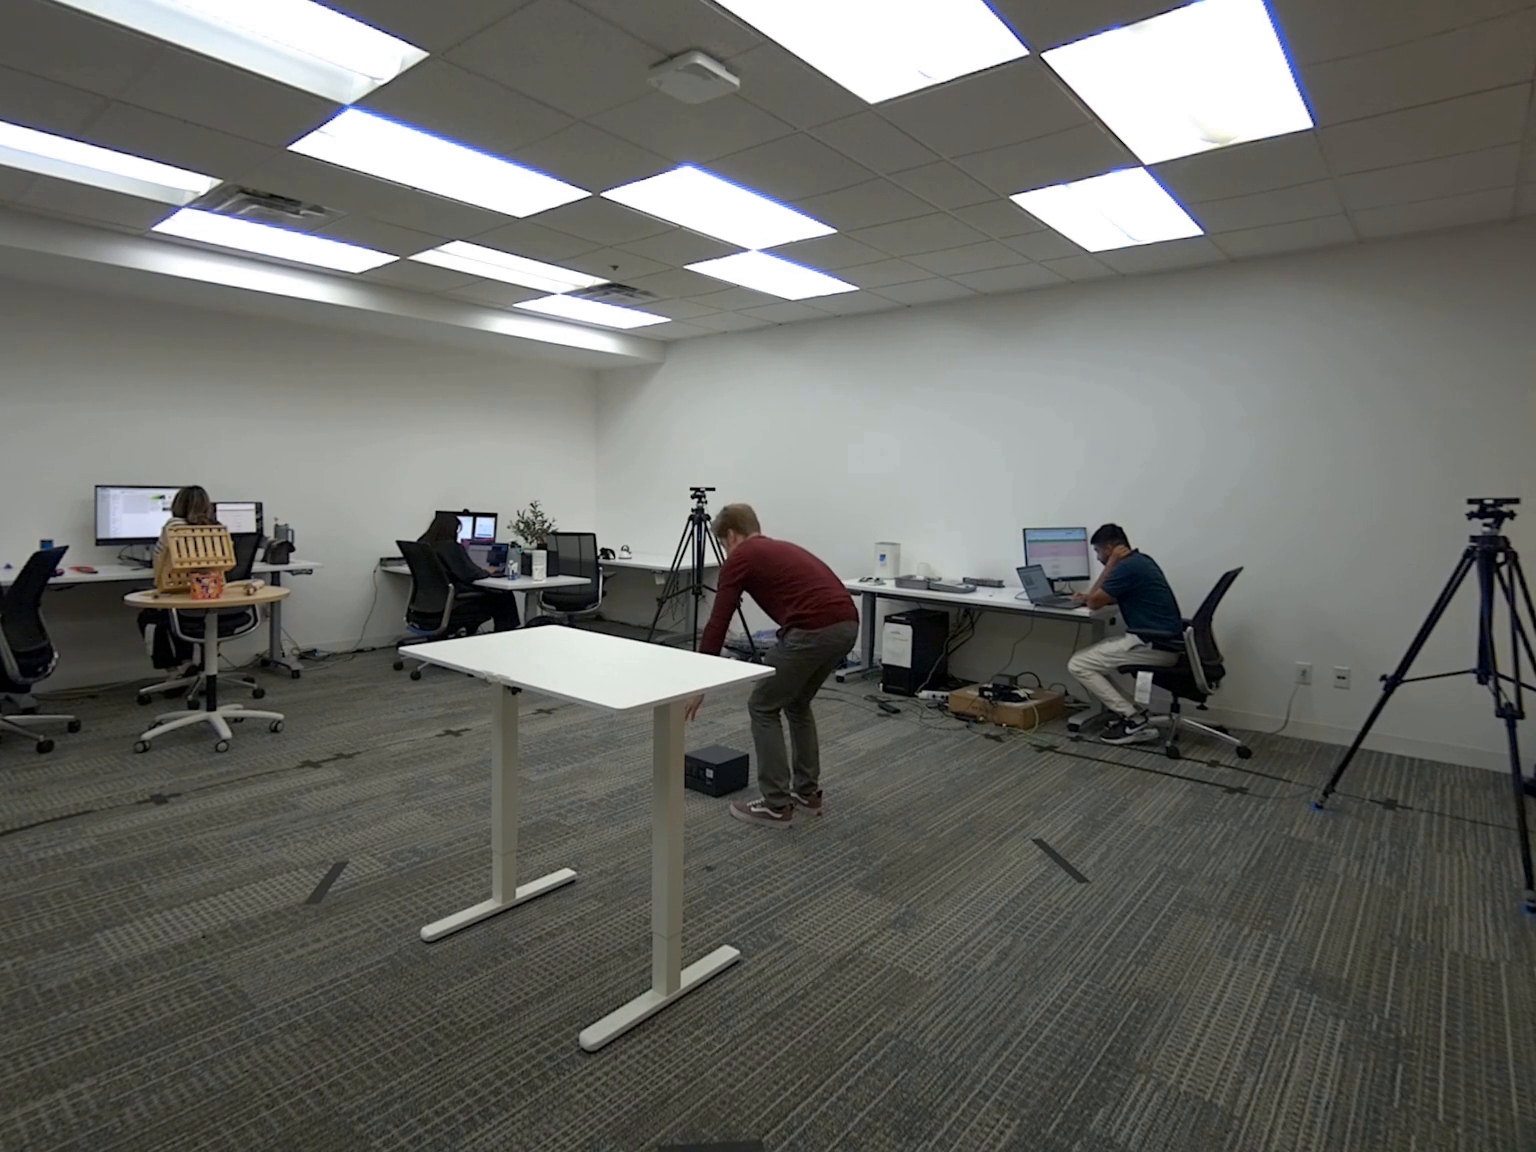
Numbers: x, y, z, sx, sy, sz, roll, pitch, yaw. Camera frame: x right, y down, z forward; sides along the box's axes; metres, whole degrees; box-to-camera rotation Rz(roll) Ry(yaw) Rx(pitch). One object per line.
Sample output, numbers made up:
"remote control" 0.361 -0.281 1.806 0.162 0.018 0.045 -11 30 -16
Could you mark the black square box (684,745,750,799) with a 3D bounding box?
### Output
"black square box" -0.253 0.899 3.970 0.224 0.155 0.221 5 6 40
